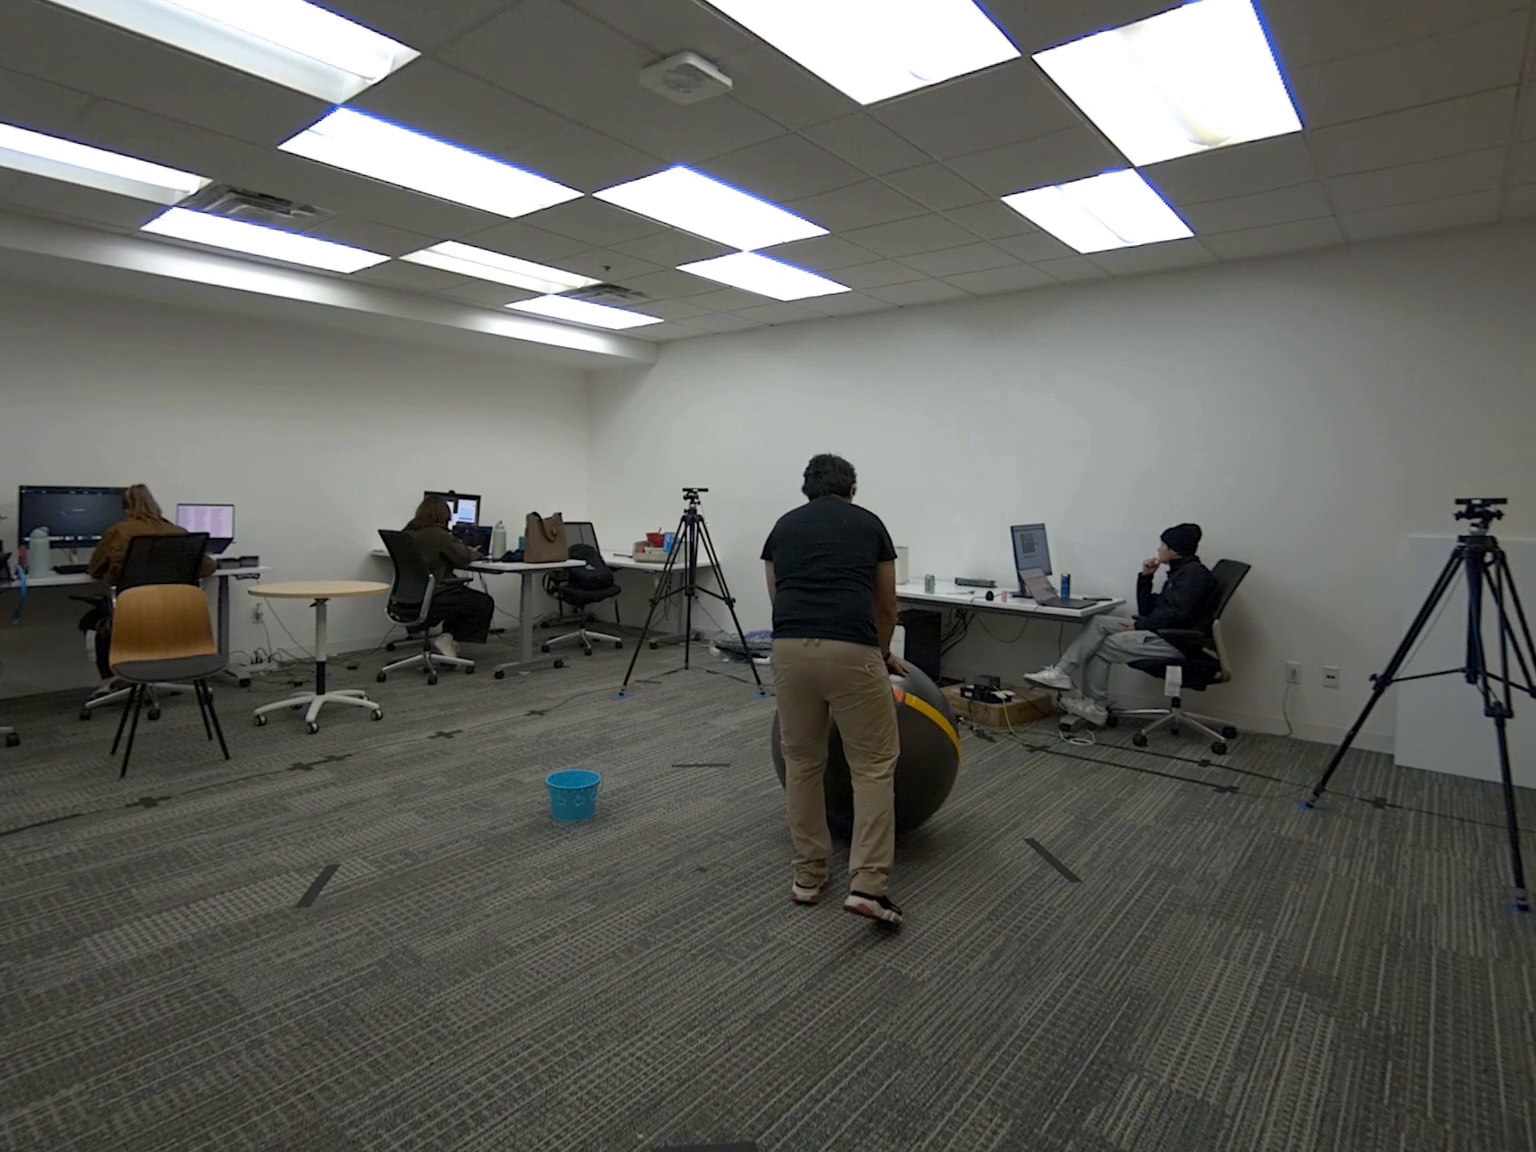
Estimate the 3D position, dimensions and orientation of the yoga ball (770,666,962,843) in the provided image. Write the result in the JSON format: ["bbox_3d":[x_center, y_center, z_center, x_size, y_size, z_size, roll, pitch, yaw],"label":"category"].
[{"bbox_3d":[0.396,0.681,3.484,0.757,0.755,0.762,1,4,-2],"label":"yoga ball"}]
